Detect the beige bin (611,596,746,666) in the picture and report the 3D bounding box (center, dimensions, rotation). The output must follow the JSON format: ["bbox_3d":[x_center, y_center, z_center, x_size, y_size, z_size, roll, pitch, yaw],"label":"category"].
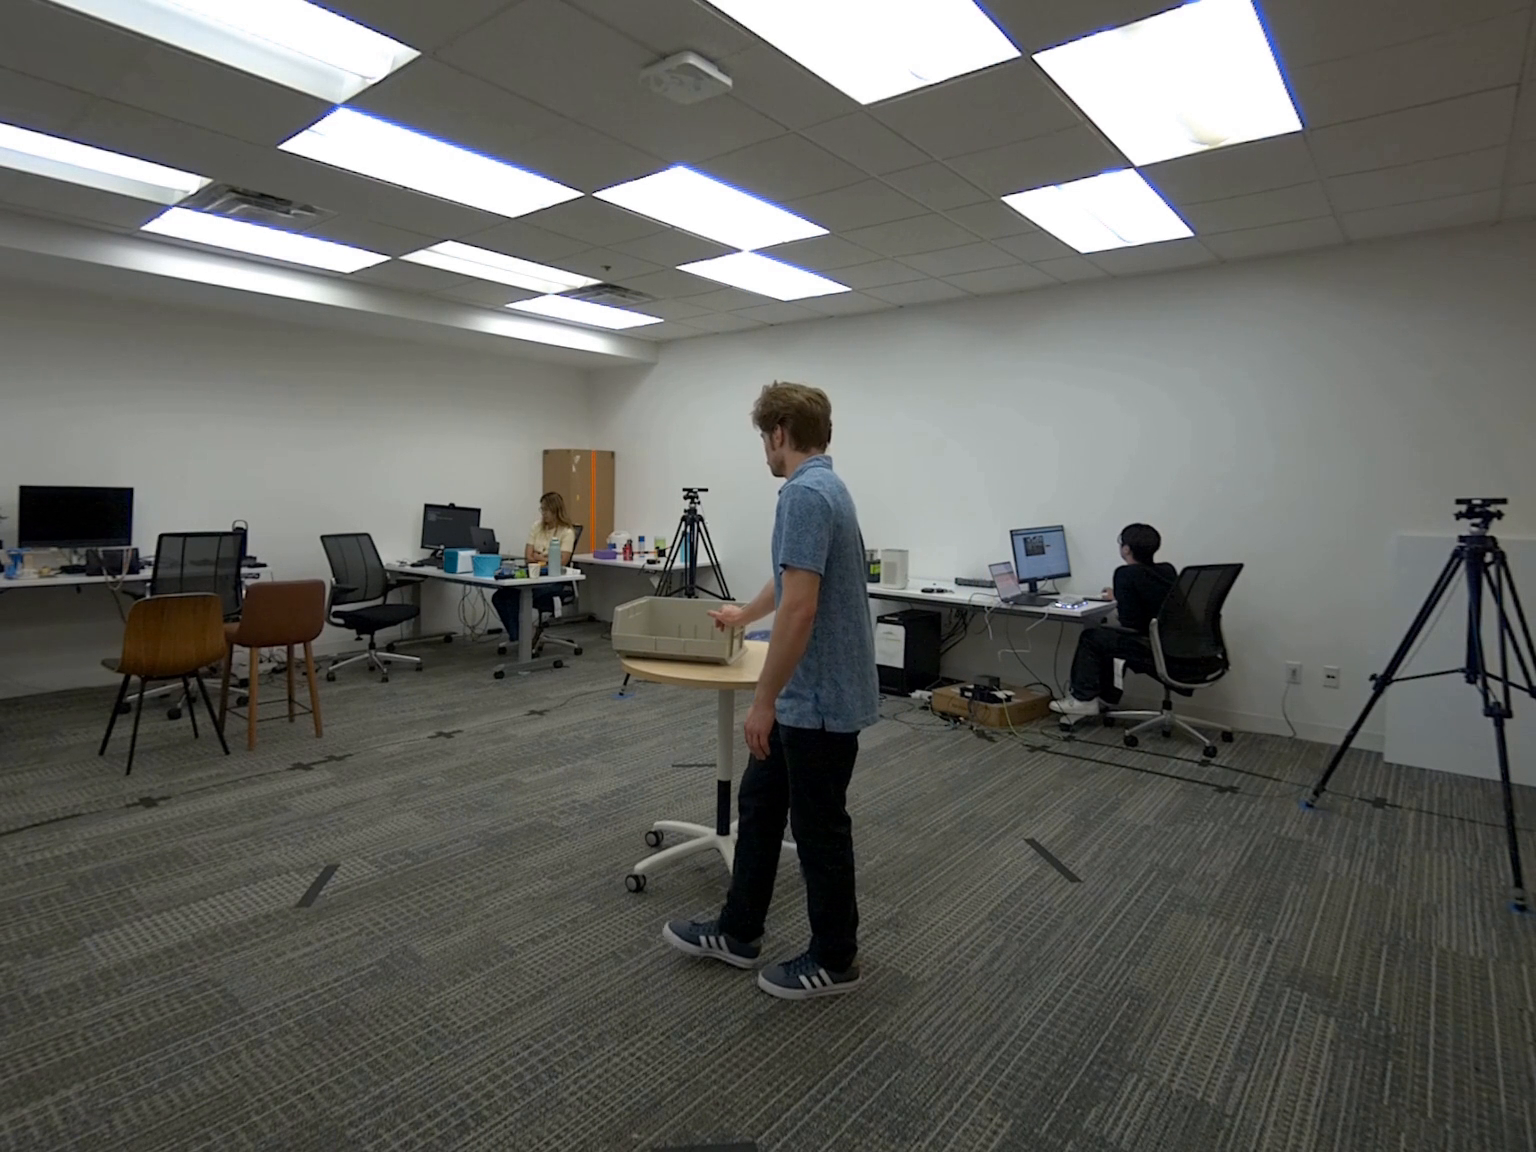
[{"bbox_3d":[-0.317,0.197,3.091,0.428,0.188,0.373,2,3,12],"label":"beige bin"}]
